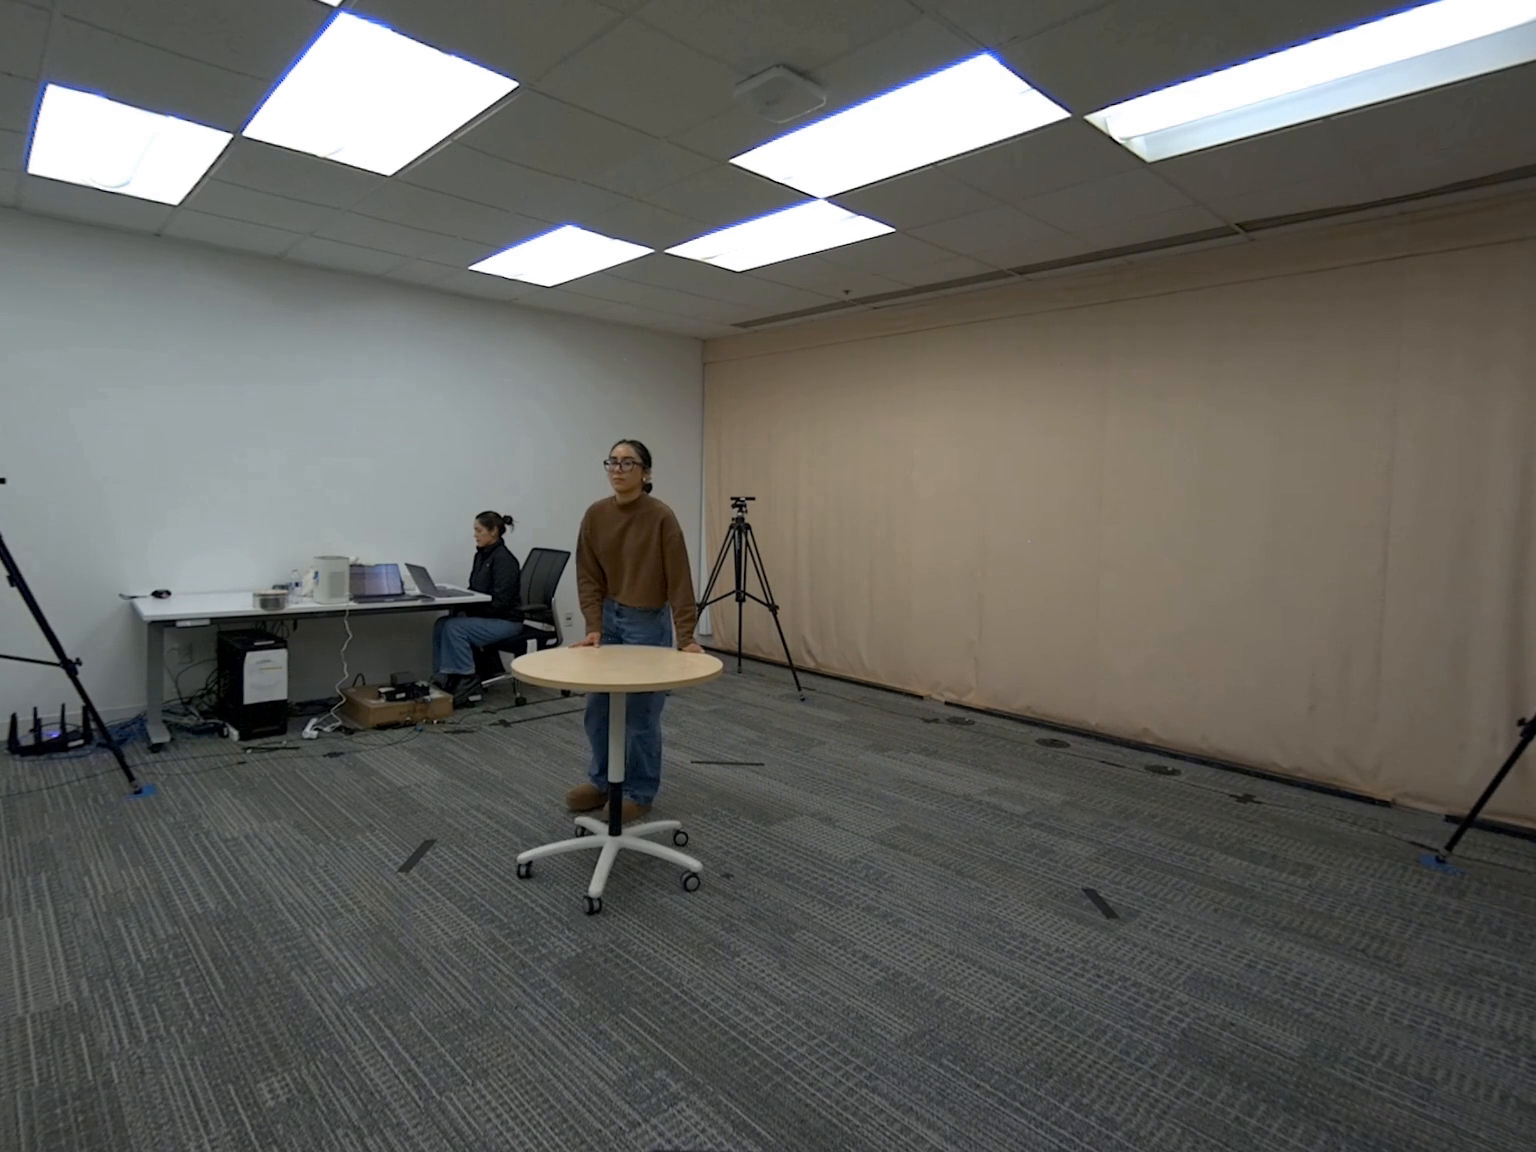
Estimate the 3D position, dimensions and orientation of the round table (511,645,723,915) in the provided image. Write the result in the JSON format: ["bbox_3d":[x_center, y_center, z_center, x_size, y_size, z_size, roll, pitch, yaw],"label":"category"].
[{"bbox_3d":[-0.573,0.706,3.112,0.784,0.785,0.787,2,4,-1],"label":"round table"}]
